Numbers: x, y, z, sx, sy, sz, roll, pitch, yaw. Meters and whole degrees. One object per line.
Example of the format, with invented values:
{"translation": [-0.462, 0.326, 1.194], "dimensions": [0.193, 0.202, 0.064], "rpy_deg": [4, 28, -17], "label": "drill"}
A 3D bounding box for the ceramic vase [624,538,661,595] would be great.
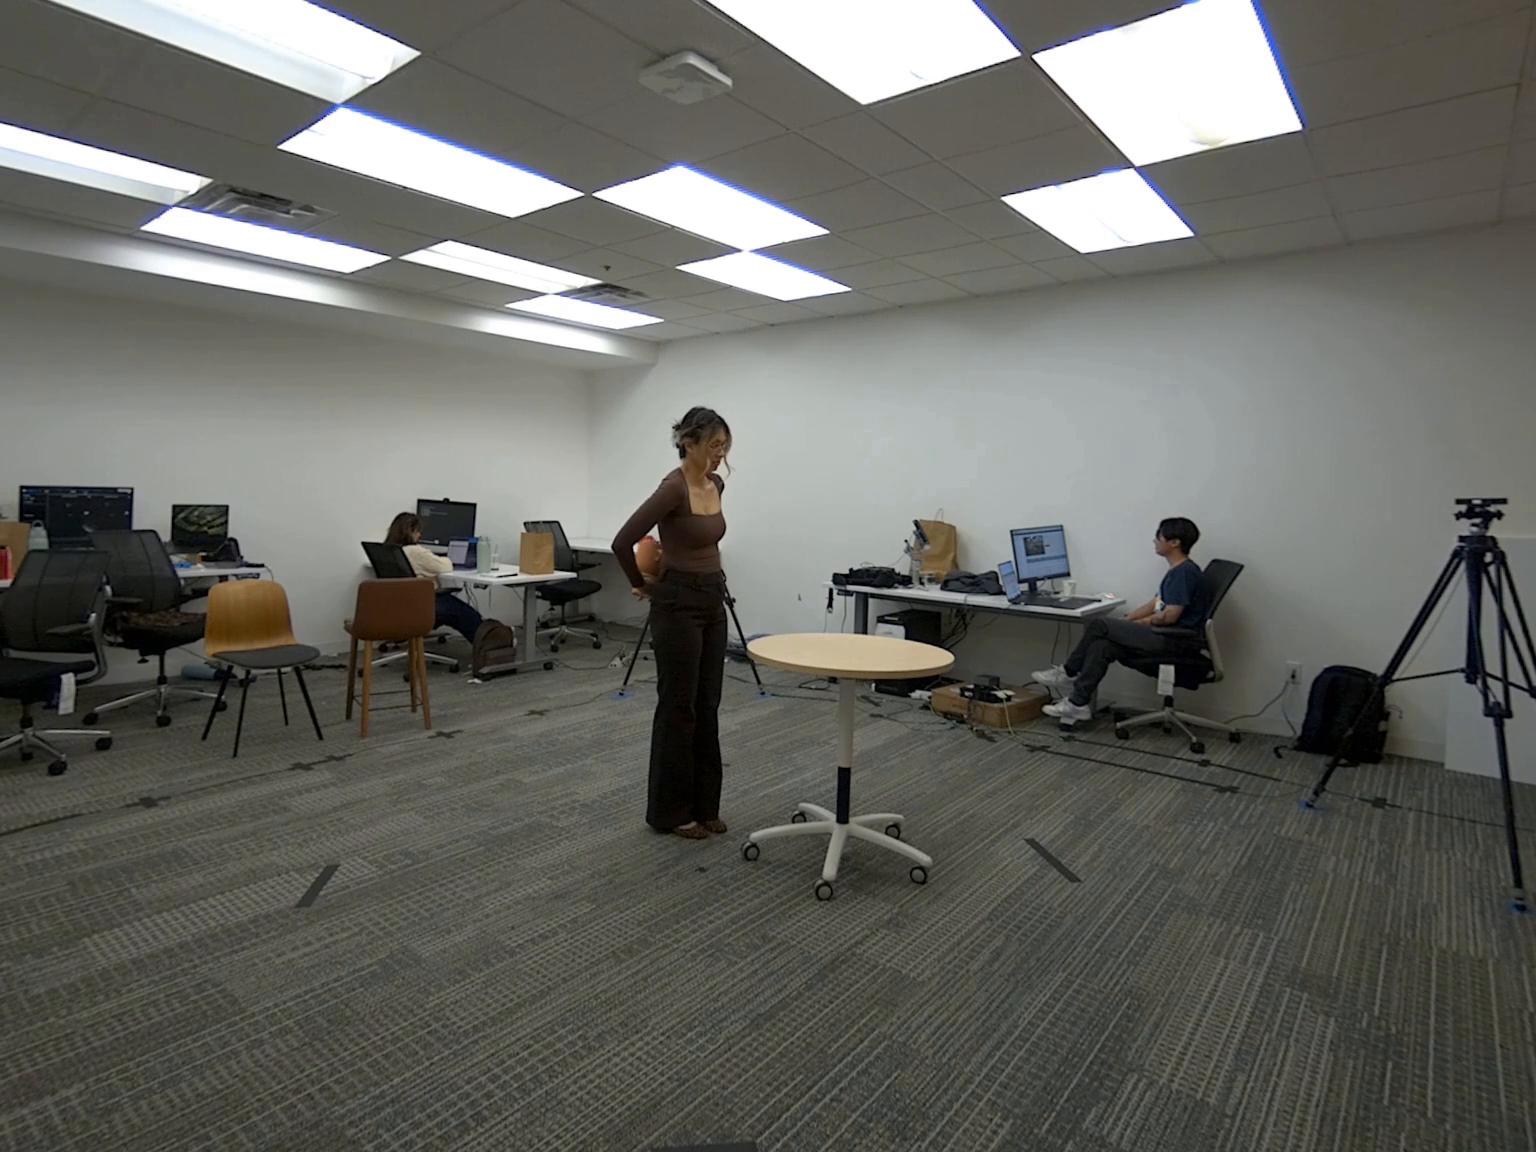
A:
{"translation": [-0.501, -0.032, 3.620], "dimensions": [0.137, 0.222, 0.154], "rpy_deg": [10, -13, 15], "label": "ceramic vase"}
